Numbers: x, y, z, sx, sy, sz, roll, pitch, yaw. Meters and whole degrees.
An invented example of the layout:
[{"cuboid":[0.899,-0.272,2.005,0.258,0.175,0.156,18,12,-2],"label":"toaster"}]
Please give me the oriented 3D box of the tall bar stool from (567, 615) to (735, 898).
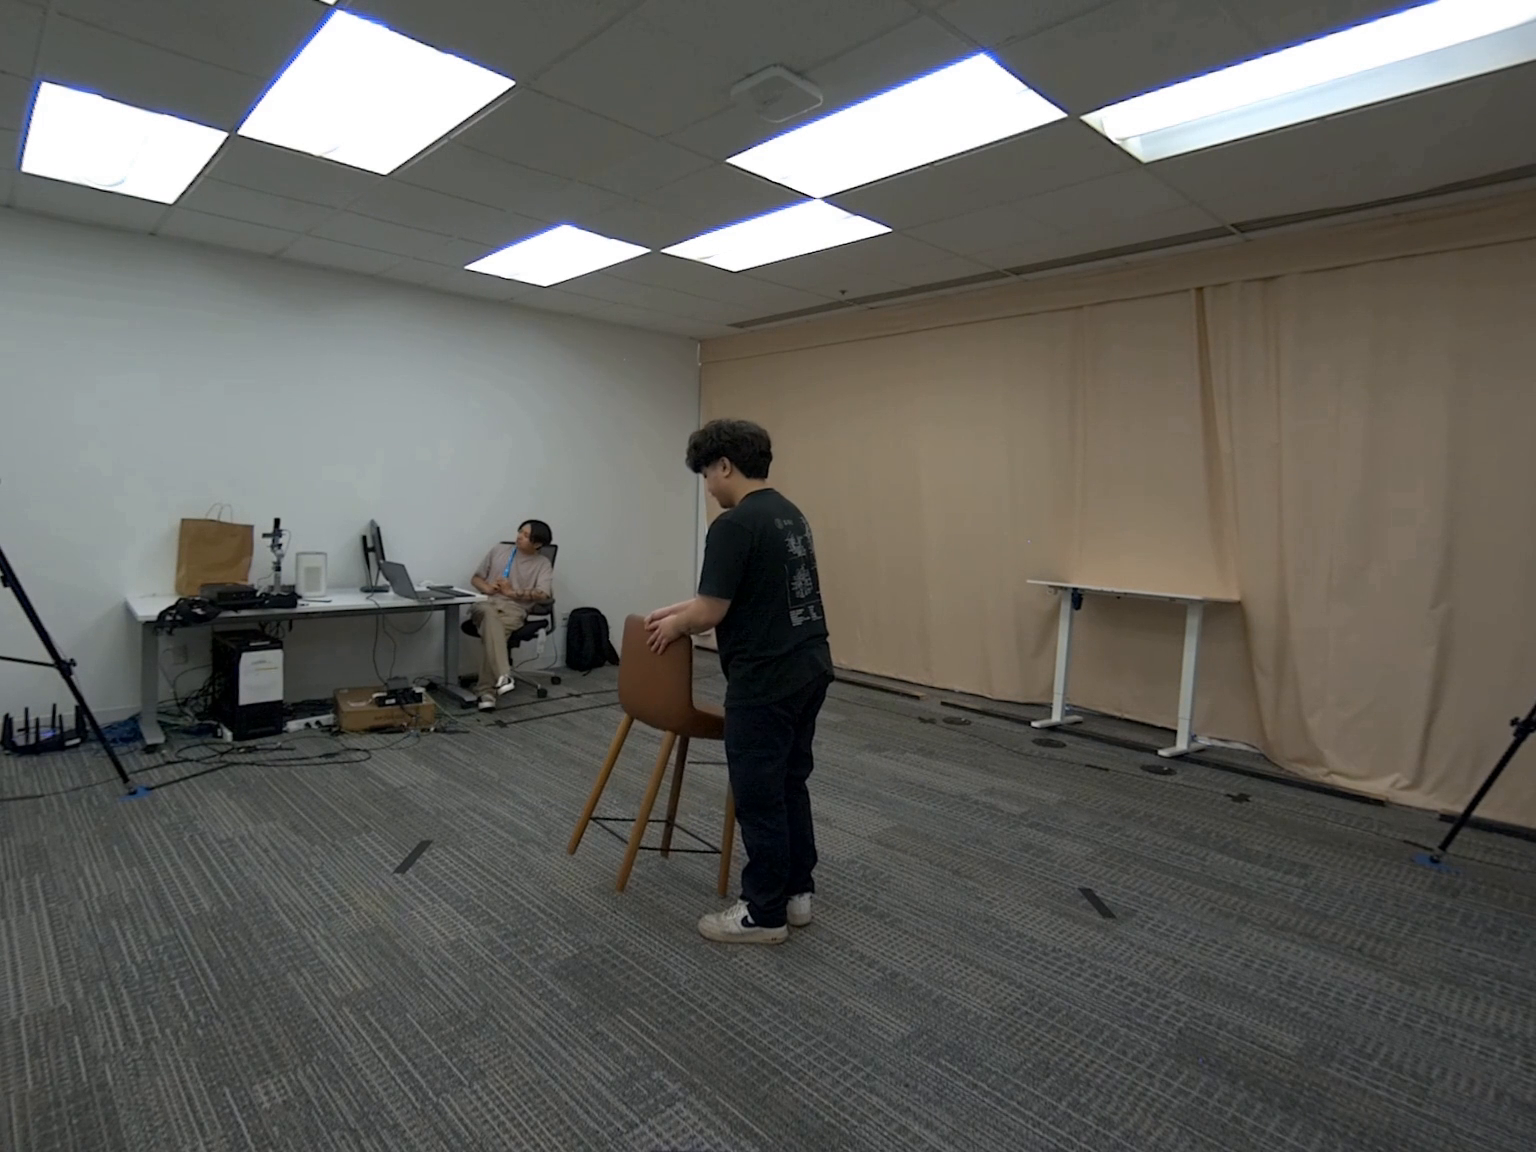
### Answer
[{"cuboid":[-0.348,0.630,3.020,0.454,0.892,0.468,16,-6,-38],"label":"tall bar stool"}]
